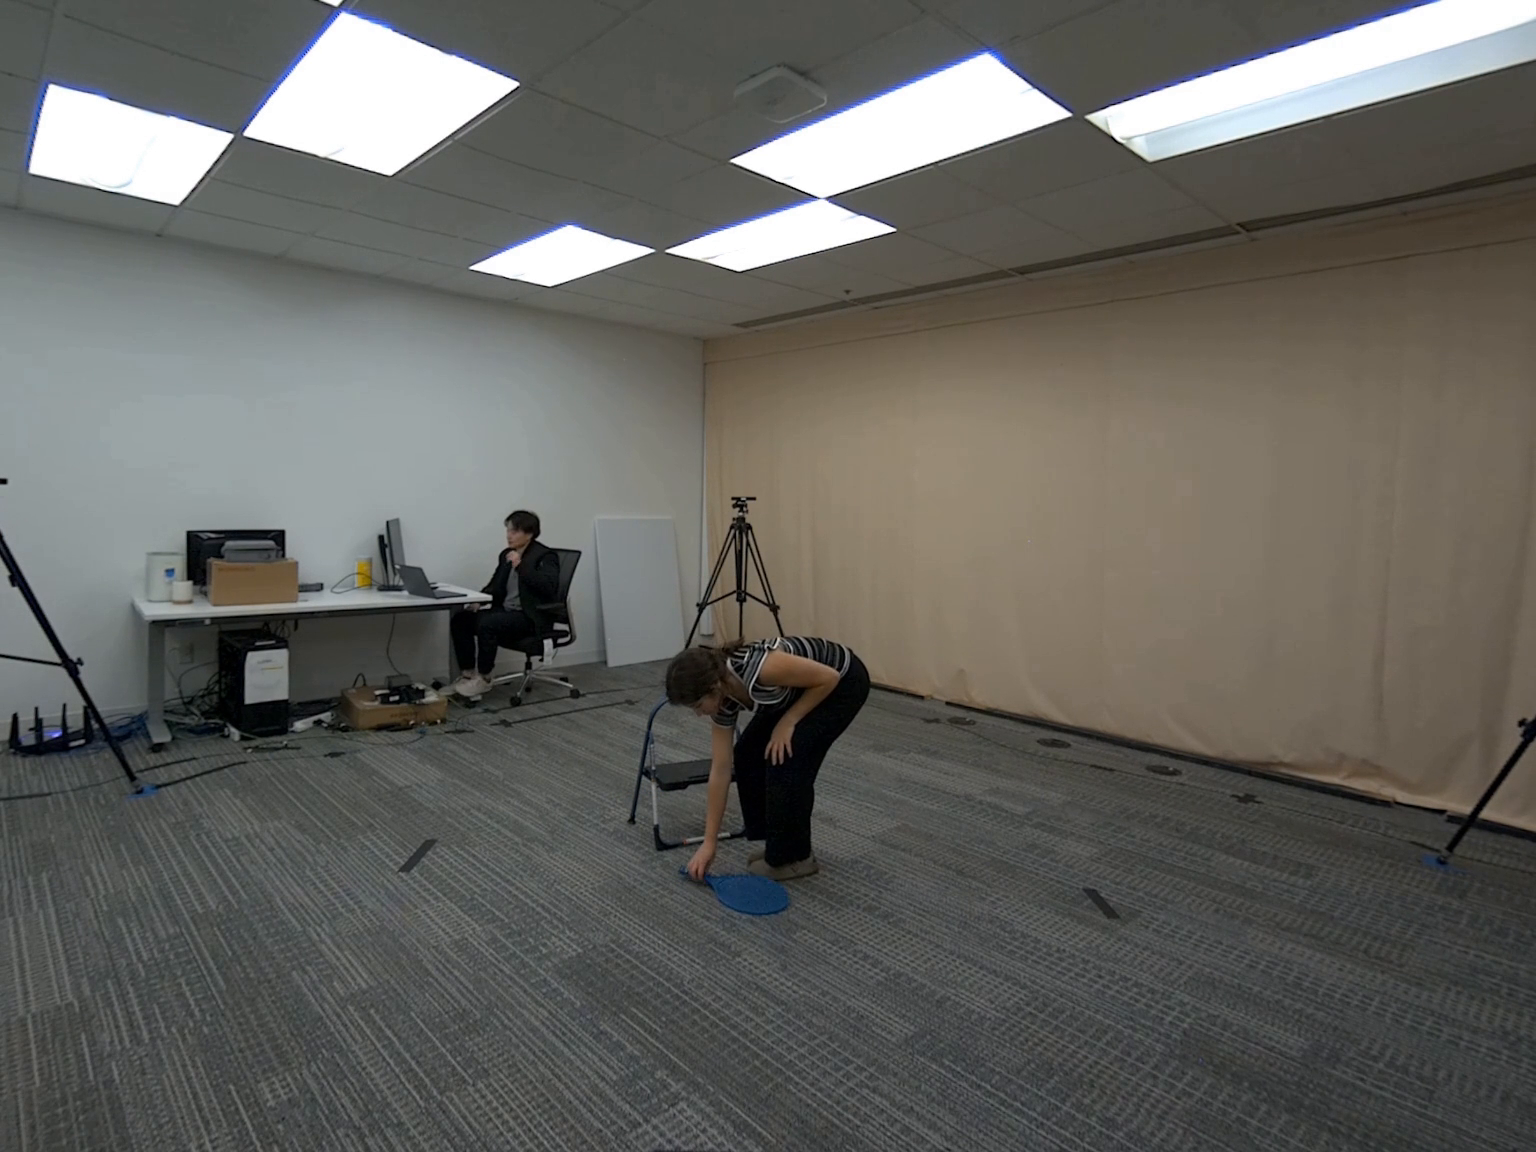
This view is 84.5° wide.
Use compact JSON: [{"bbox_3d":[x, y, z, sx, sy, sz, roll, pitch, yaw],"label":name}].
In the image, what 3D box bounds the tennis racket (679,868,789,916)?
[{"bbox_3d":[-0.142,1.089,2.969,0.443,0.031,0.210,7,14,32],"label":"tennis racket"}]
